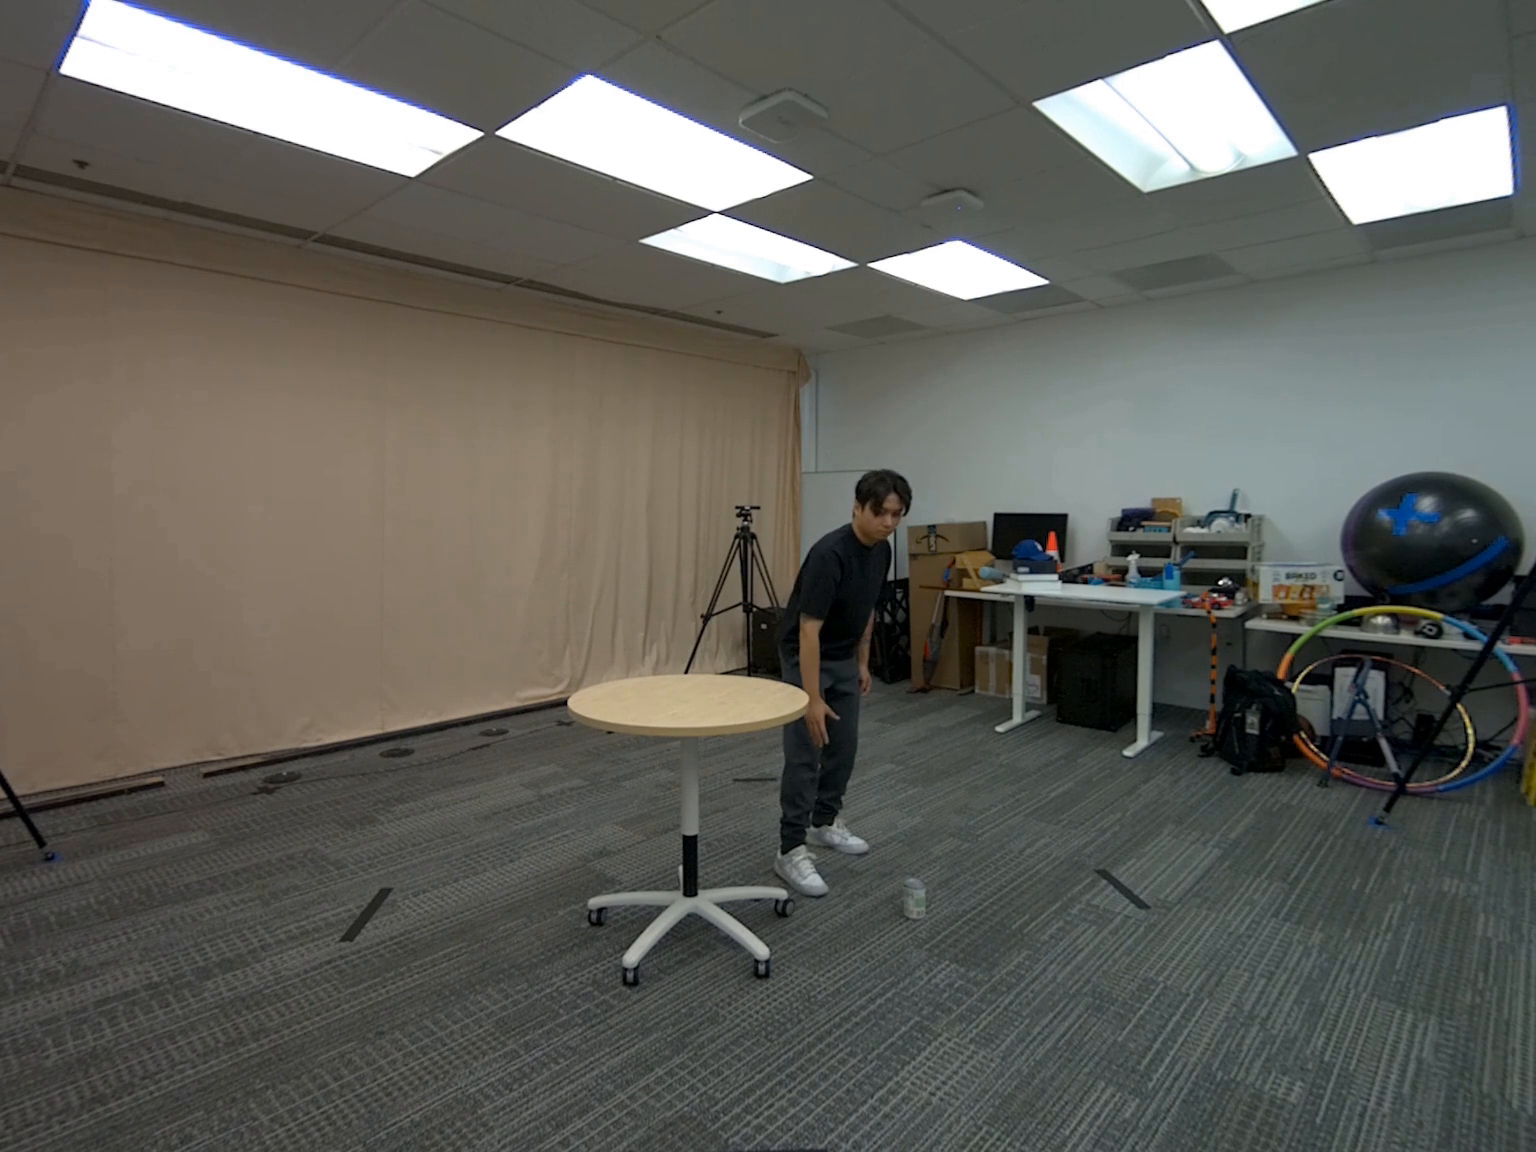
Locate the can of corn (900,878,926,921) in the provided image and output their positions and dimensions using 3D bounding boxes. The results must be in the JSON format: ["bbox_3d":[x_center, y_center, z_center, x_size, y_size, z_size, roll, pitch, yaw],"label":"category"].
[{"bbox_3d":[0.505,1.102,2.854,0.074,0.111,0.074,0,3,-2],"label":"can of corn"}]
